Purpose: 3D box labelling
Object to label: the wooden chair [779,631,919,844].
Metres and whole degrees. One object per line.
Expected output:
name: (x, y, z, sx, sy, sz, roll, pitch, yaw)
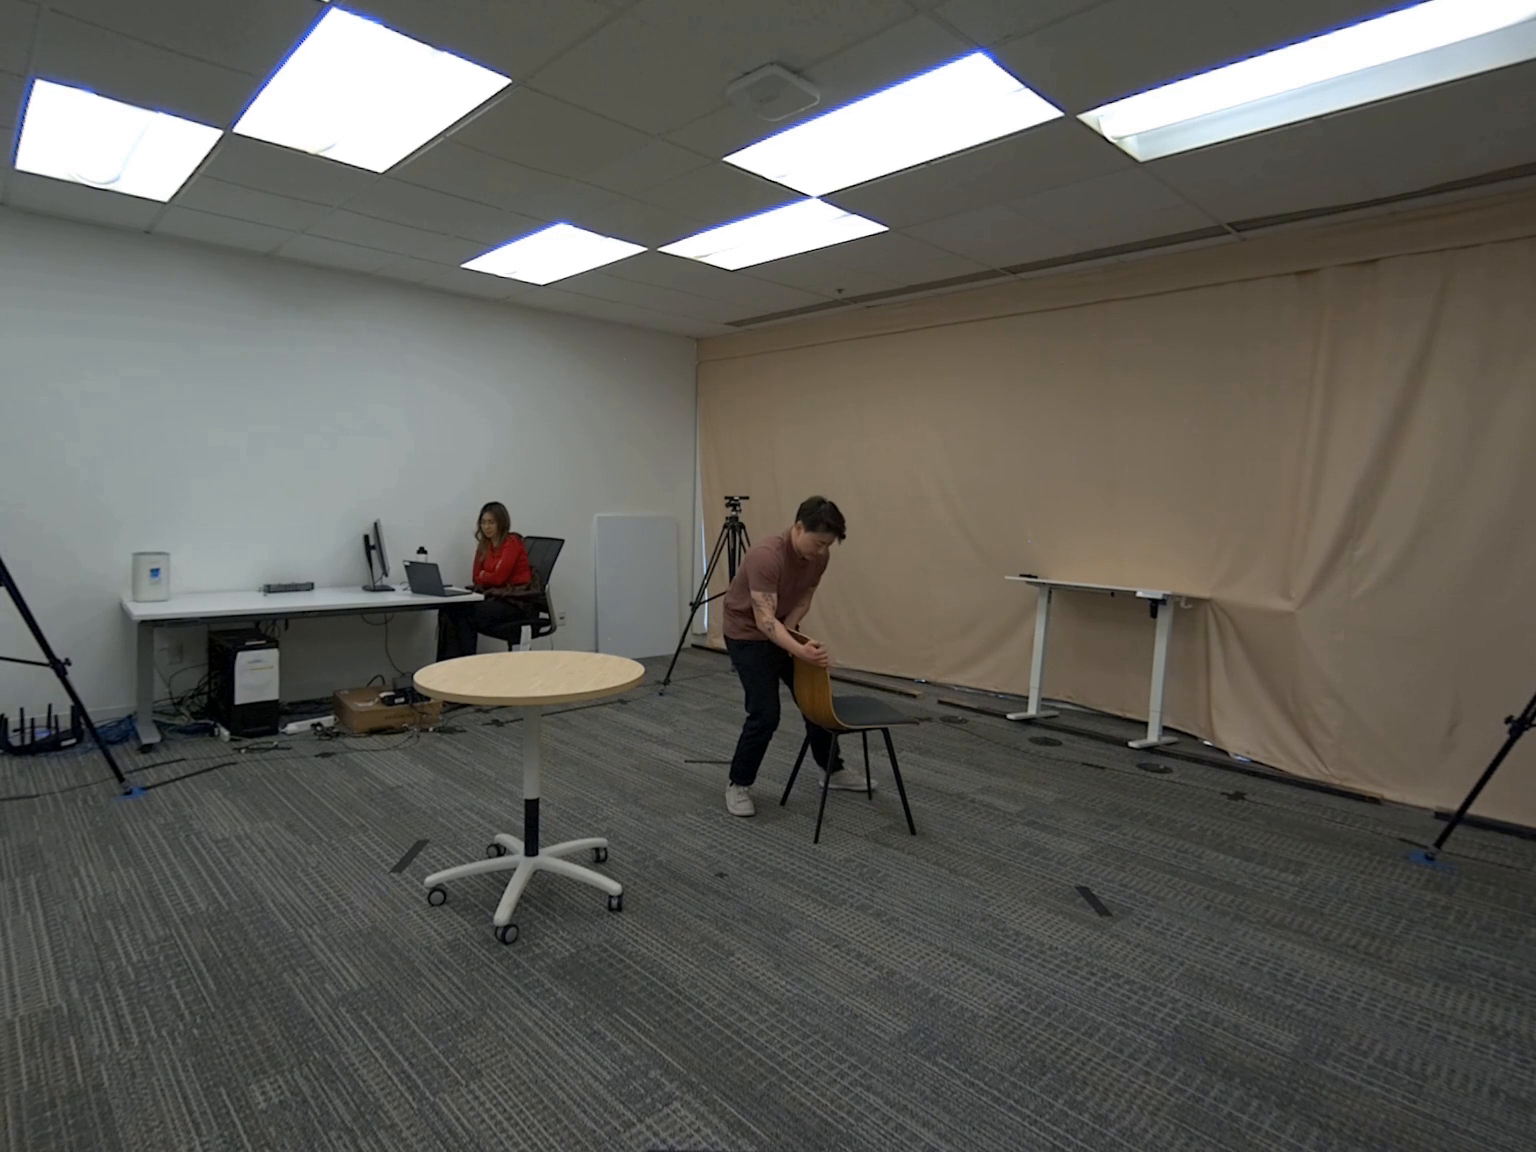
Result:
wooden chair: (0.350, 0.641, 3.649, 0.517, 0.875, 0.485, -3, 4, -16)
